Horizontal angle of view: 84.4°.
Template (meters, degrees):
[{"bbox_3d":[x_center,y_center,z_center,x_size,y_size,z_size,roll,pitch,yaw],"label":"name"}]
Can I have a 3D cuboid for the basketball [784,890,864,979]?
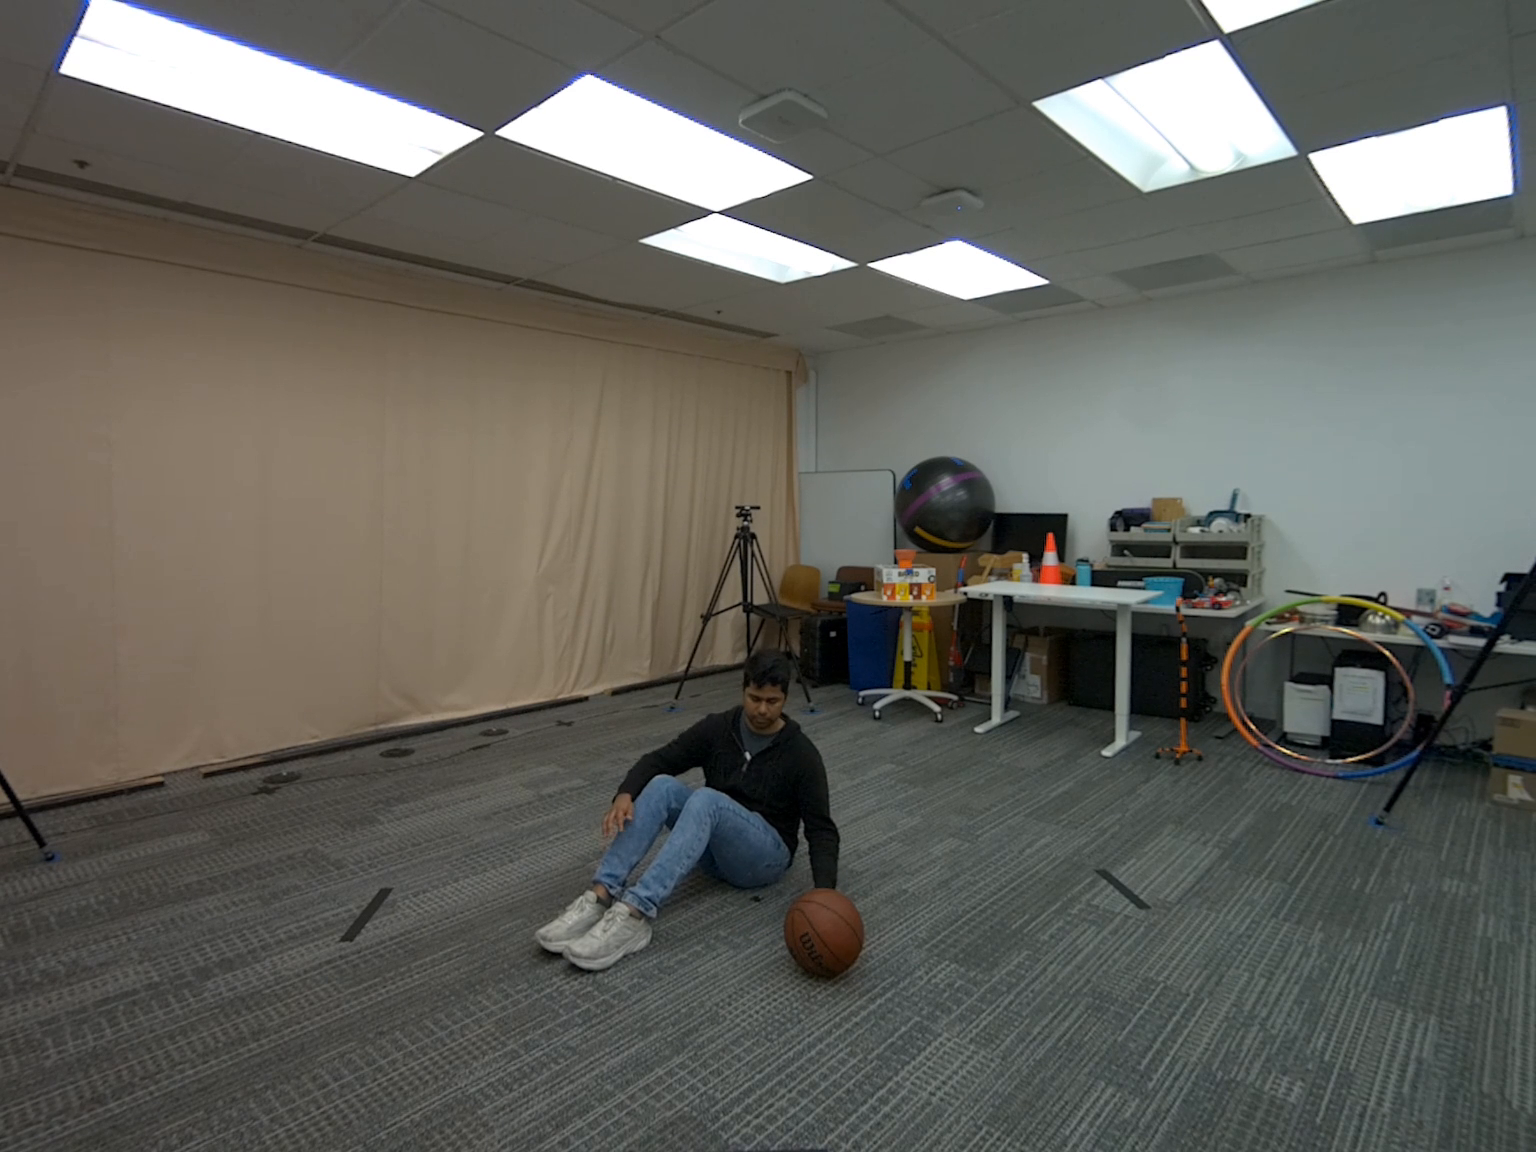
[{"bbox_3d":[0.166,1.055,2.522,0.236,0.235,0.237,0,4,-2],"label":"basketball"}]
